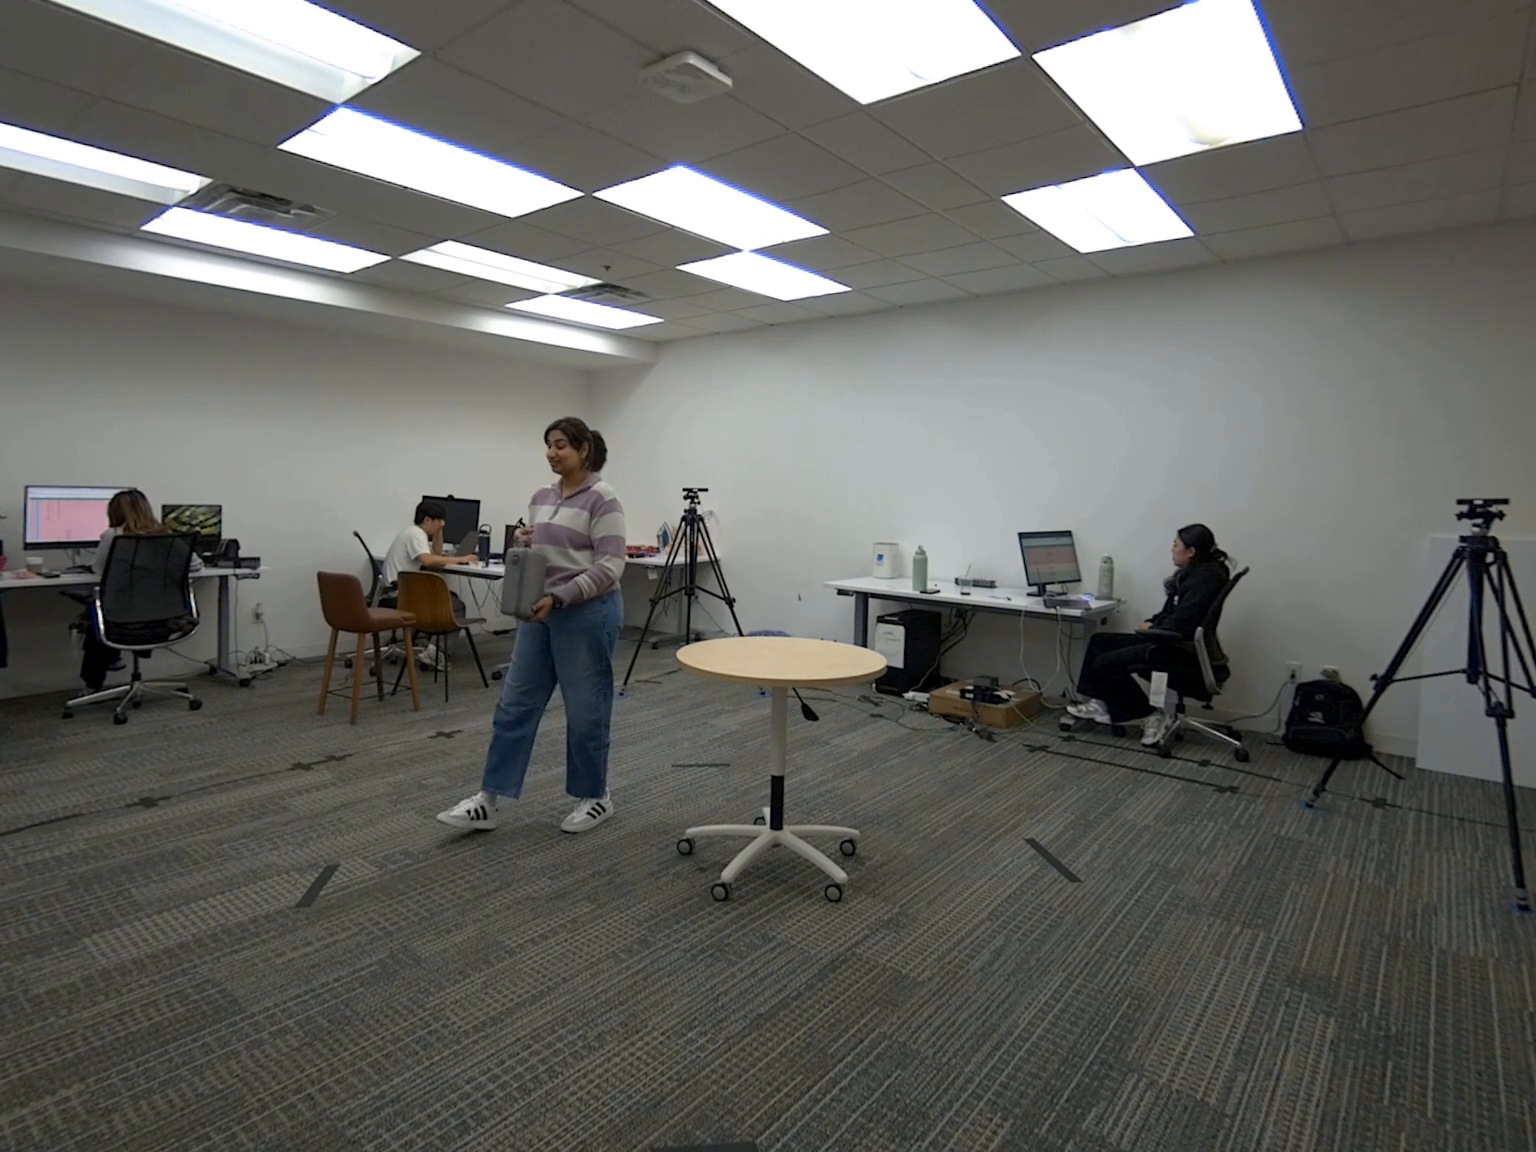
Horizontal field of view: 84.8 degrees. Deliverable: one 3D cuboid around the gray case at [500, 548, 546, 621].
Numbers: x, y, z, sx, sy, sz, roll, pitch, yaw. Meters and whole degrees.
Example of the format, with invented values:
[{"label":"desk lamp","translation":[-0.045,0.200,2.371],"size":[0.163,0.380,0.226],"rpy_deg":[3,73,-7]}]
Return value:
[{"label":"gray case","translation":[-0.925,0.020,3.196],"size":[0.105,0.262,0.254],"rpy_deg":[5,-6,2]}]
